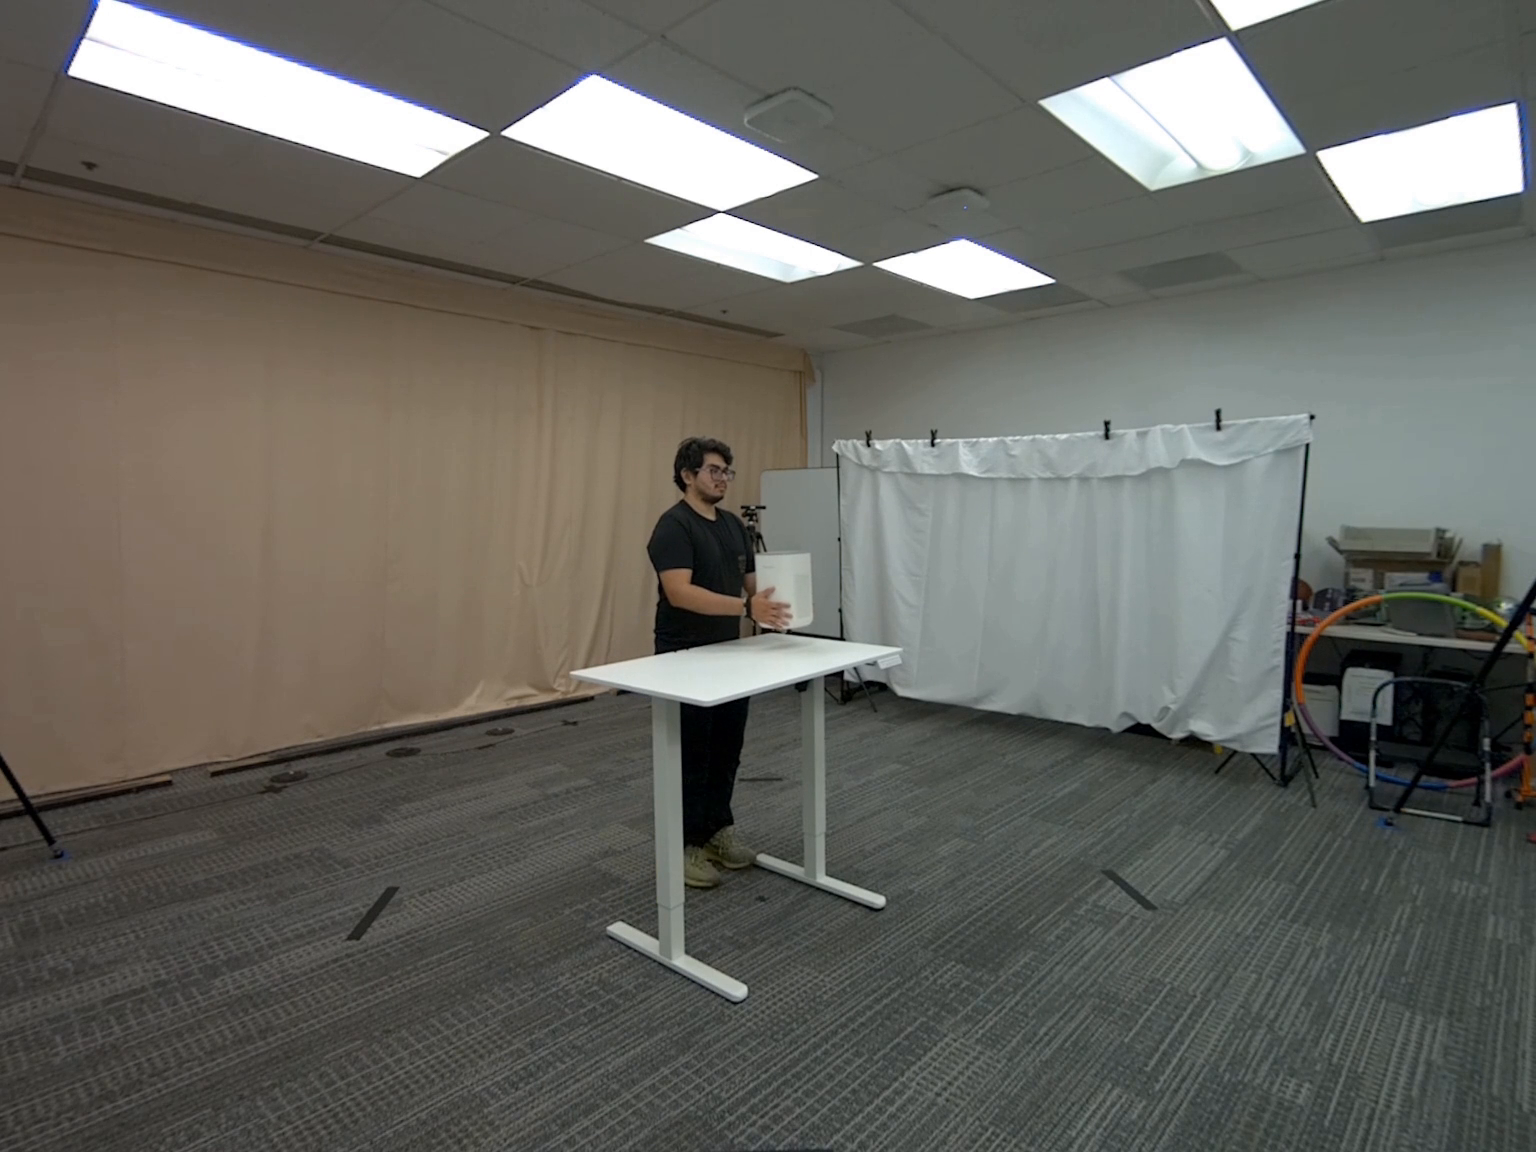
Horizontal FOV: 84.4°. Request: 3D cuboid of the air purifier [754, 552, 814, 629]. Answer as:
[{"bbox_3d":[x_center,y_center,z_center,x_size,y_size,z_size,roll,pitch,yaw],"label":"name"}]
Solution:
[{"bbox_3d":[0.056,0.047,2.999,0.176,0.265,0.166,-1,4,38],"label":"air purifier"}]
